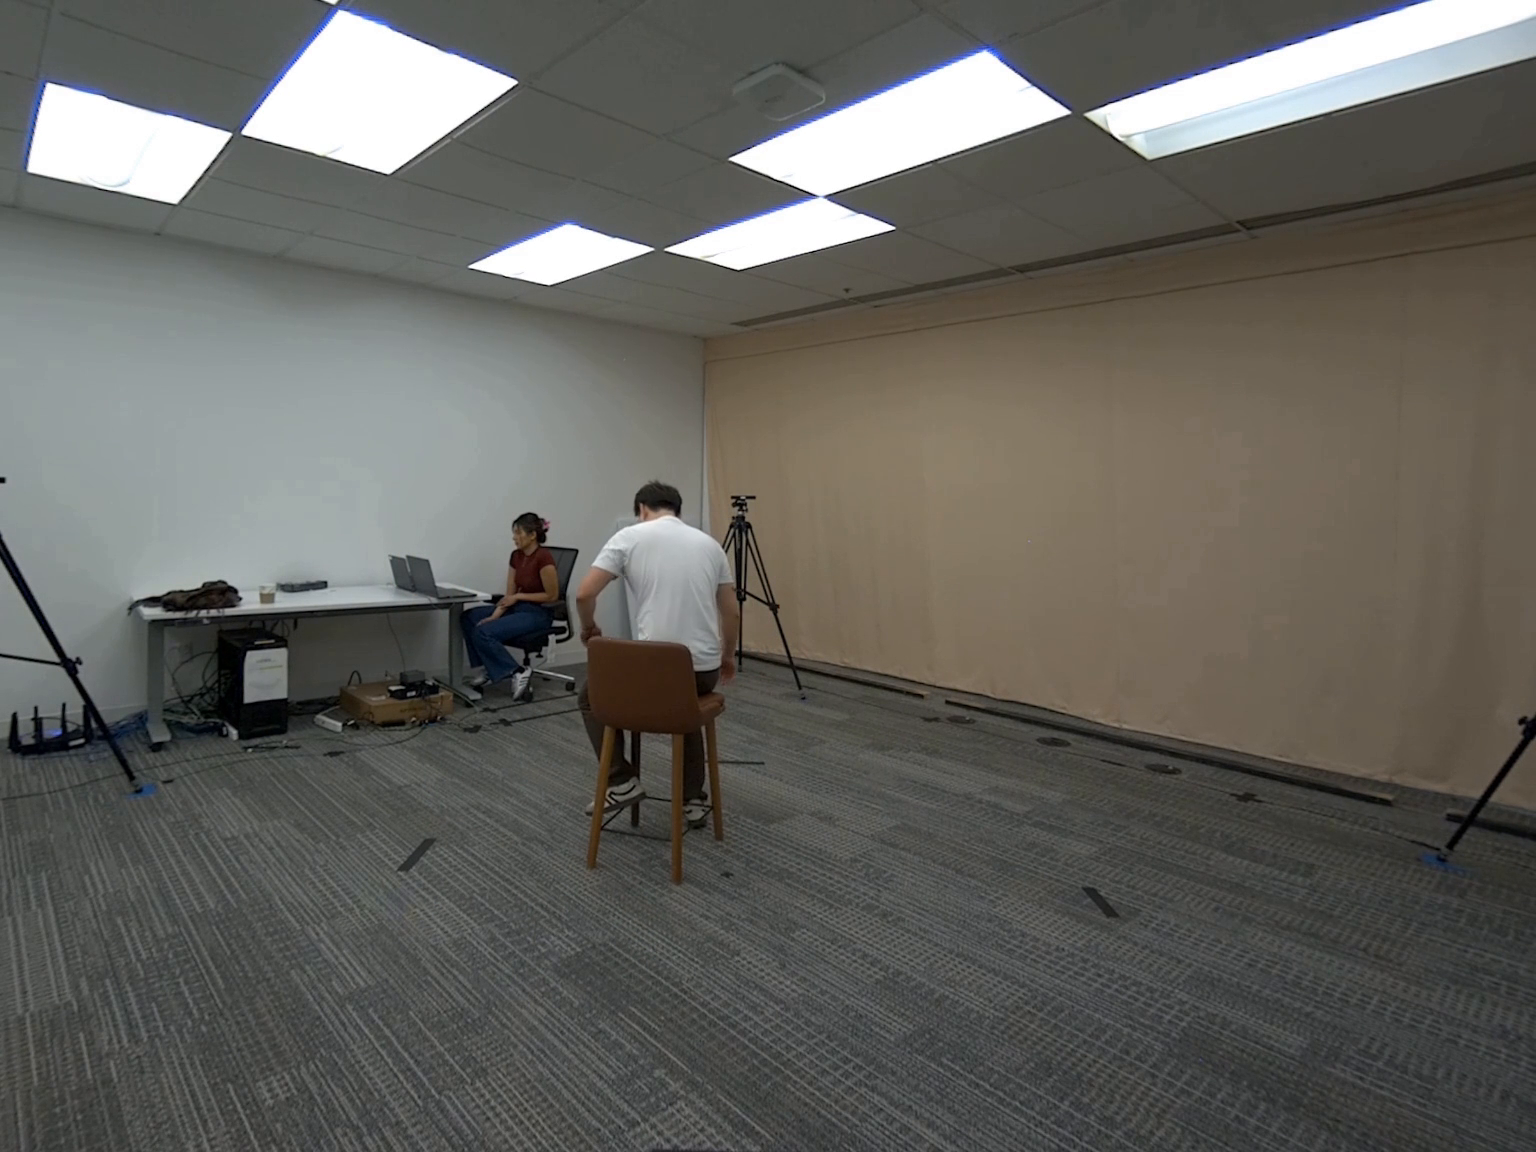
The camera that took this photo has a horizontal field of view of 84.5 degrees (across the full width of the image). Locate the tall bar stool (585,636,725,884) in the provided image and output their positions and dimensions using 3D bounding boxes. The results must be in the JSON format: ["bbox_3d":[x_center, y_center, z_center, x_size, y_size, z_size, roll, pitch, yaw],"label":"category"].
[{"bbox_3d":[-0.441,0.650,3.253,0.463,0.887,0.462,2,5,19],"label":"tall bar stool"}]
